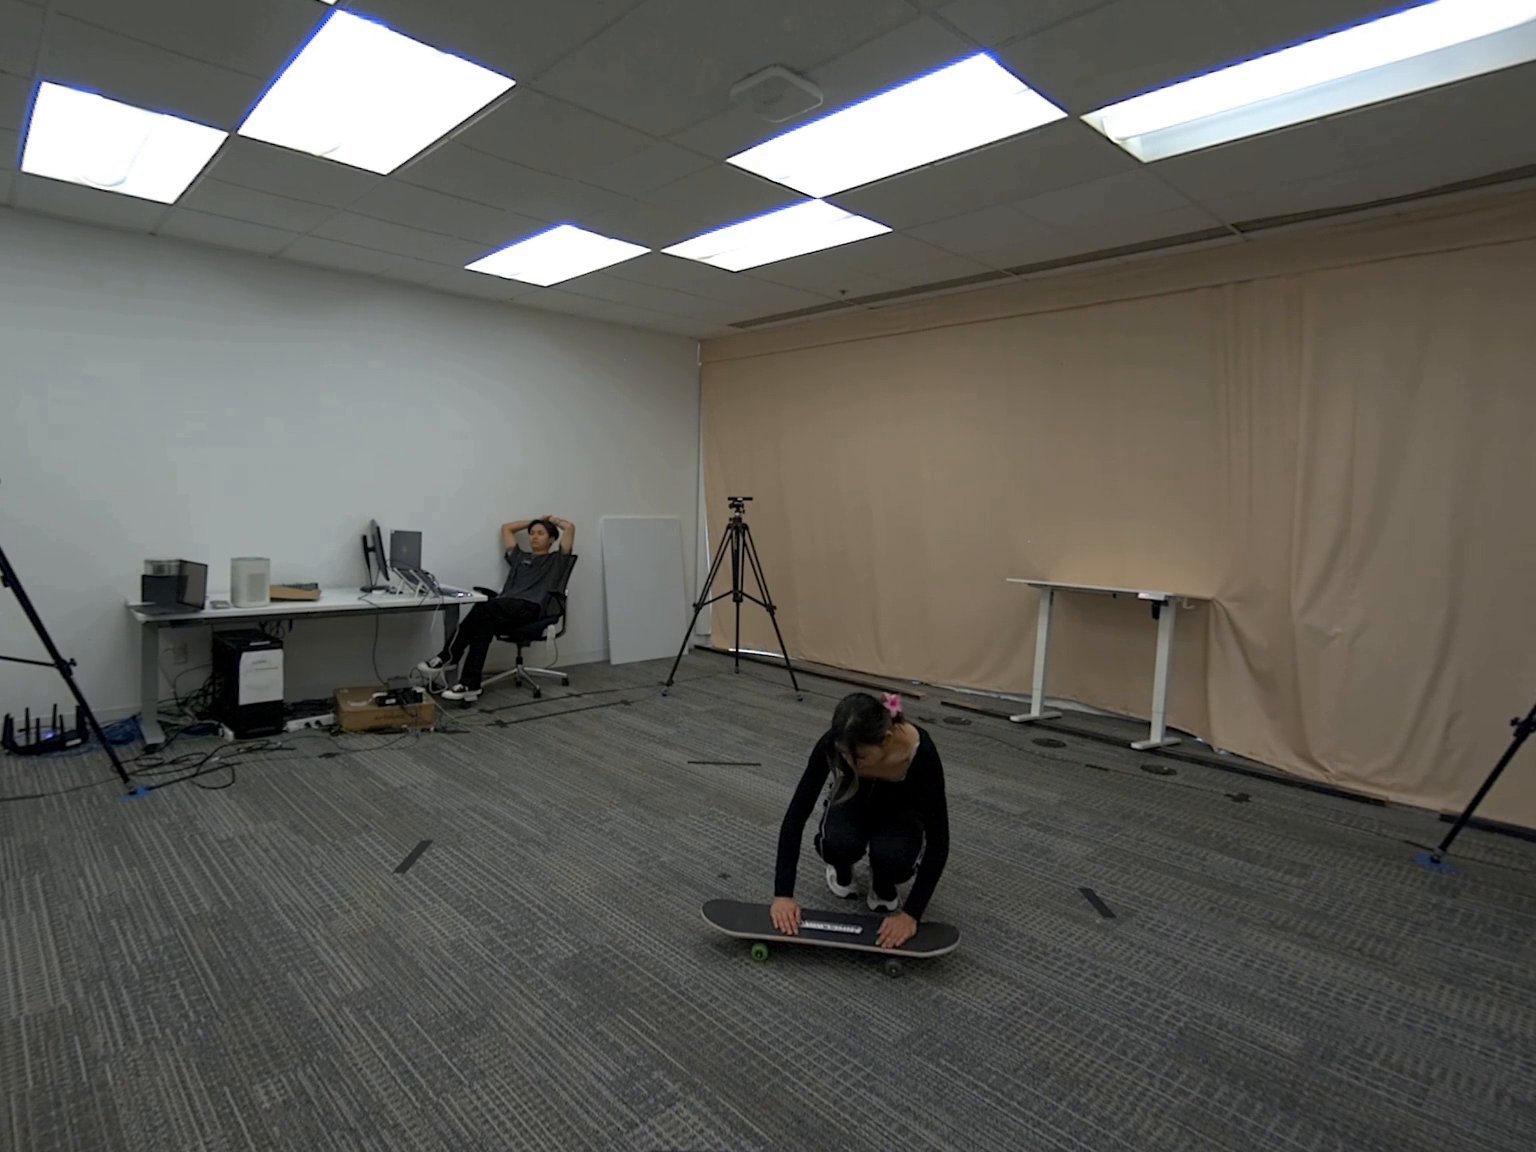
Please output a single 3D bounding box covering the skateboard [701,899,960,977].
[{"bbox_3d":[0.173,1.102,2.589,0.791,0.110,0.192,2,4,8],"label":"skateboard"}]
